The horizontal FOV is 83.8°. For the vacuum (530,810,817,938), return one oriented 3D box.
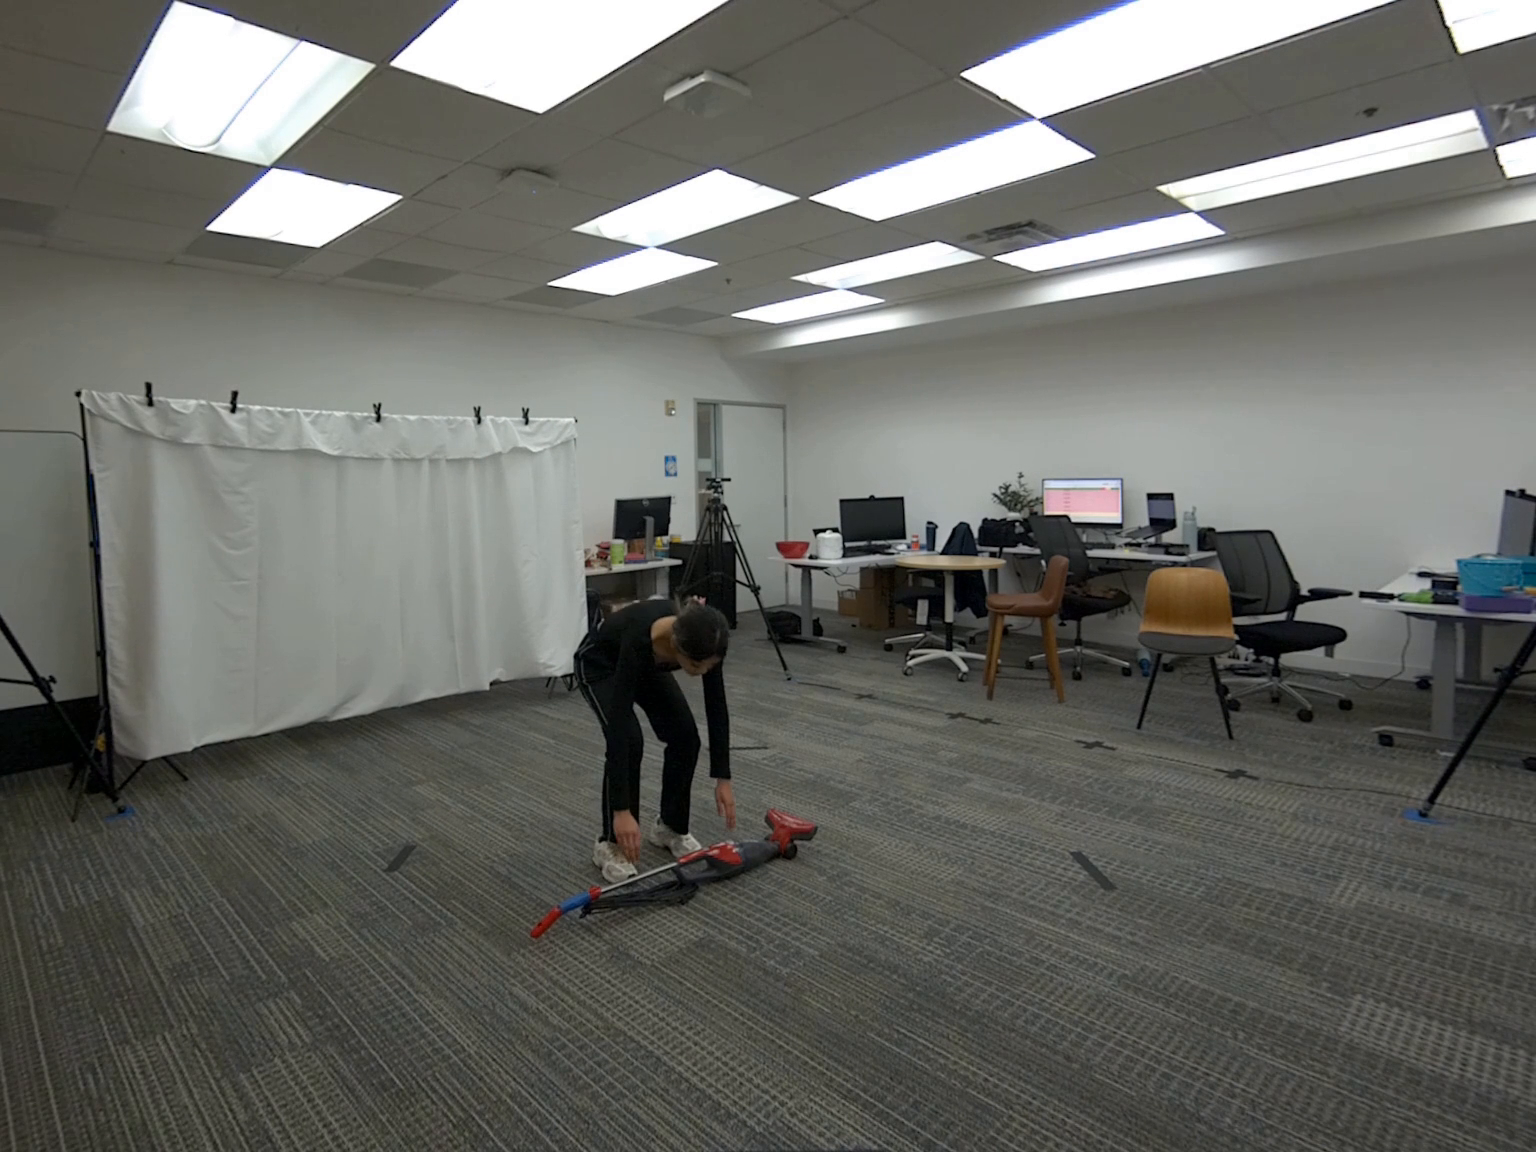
[{"bbox_3d":[-0.304,1.018,2.862,1.023,0.143,0.260,-8,6,-40],"label":"vacuum"}]
